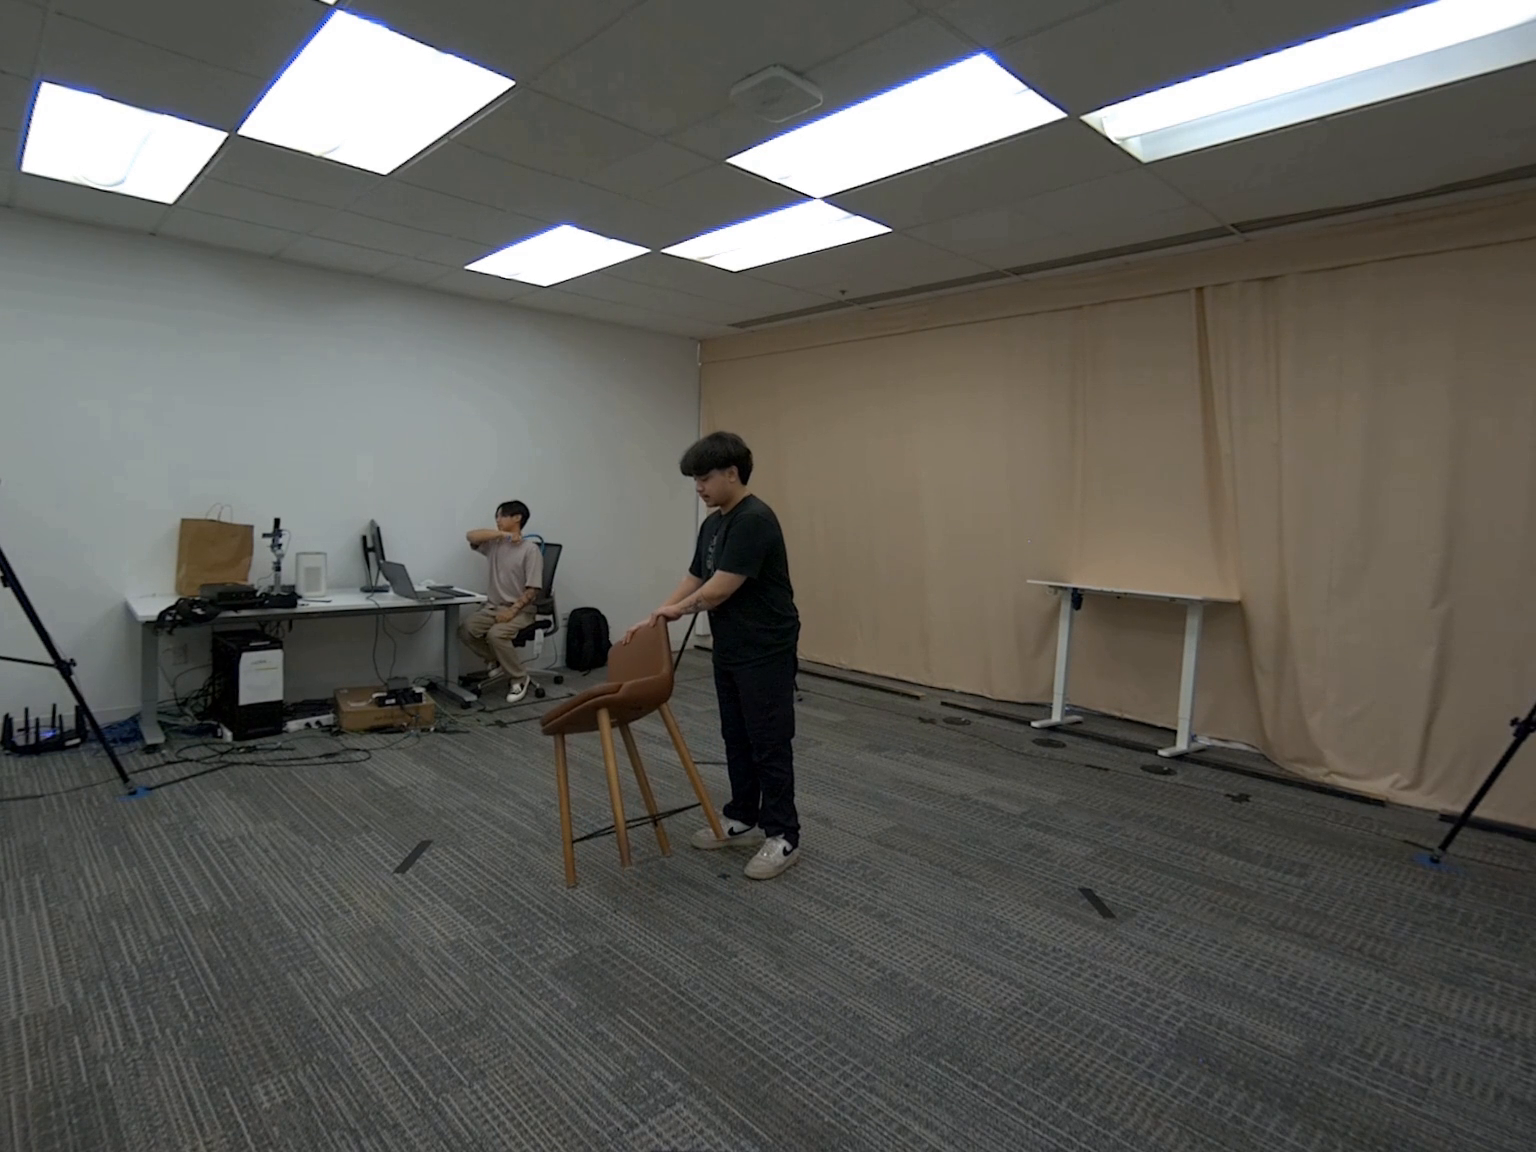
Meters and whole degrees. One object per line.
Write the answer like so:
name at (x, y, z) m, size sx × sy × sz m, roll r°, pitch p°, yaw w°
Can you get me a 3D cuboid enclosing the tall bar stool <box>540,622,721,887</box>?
tall bar stool at (-0.558, 0.622, 3.141) m, size 0.456 × 0.905 × 0.460 m, roll 2°, pitch -25°, yaw -43°
